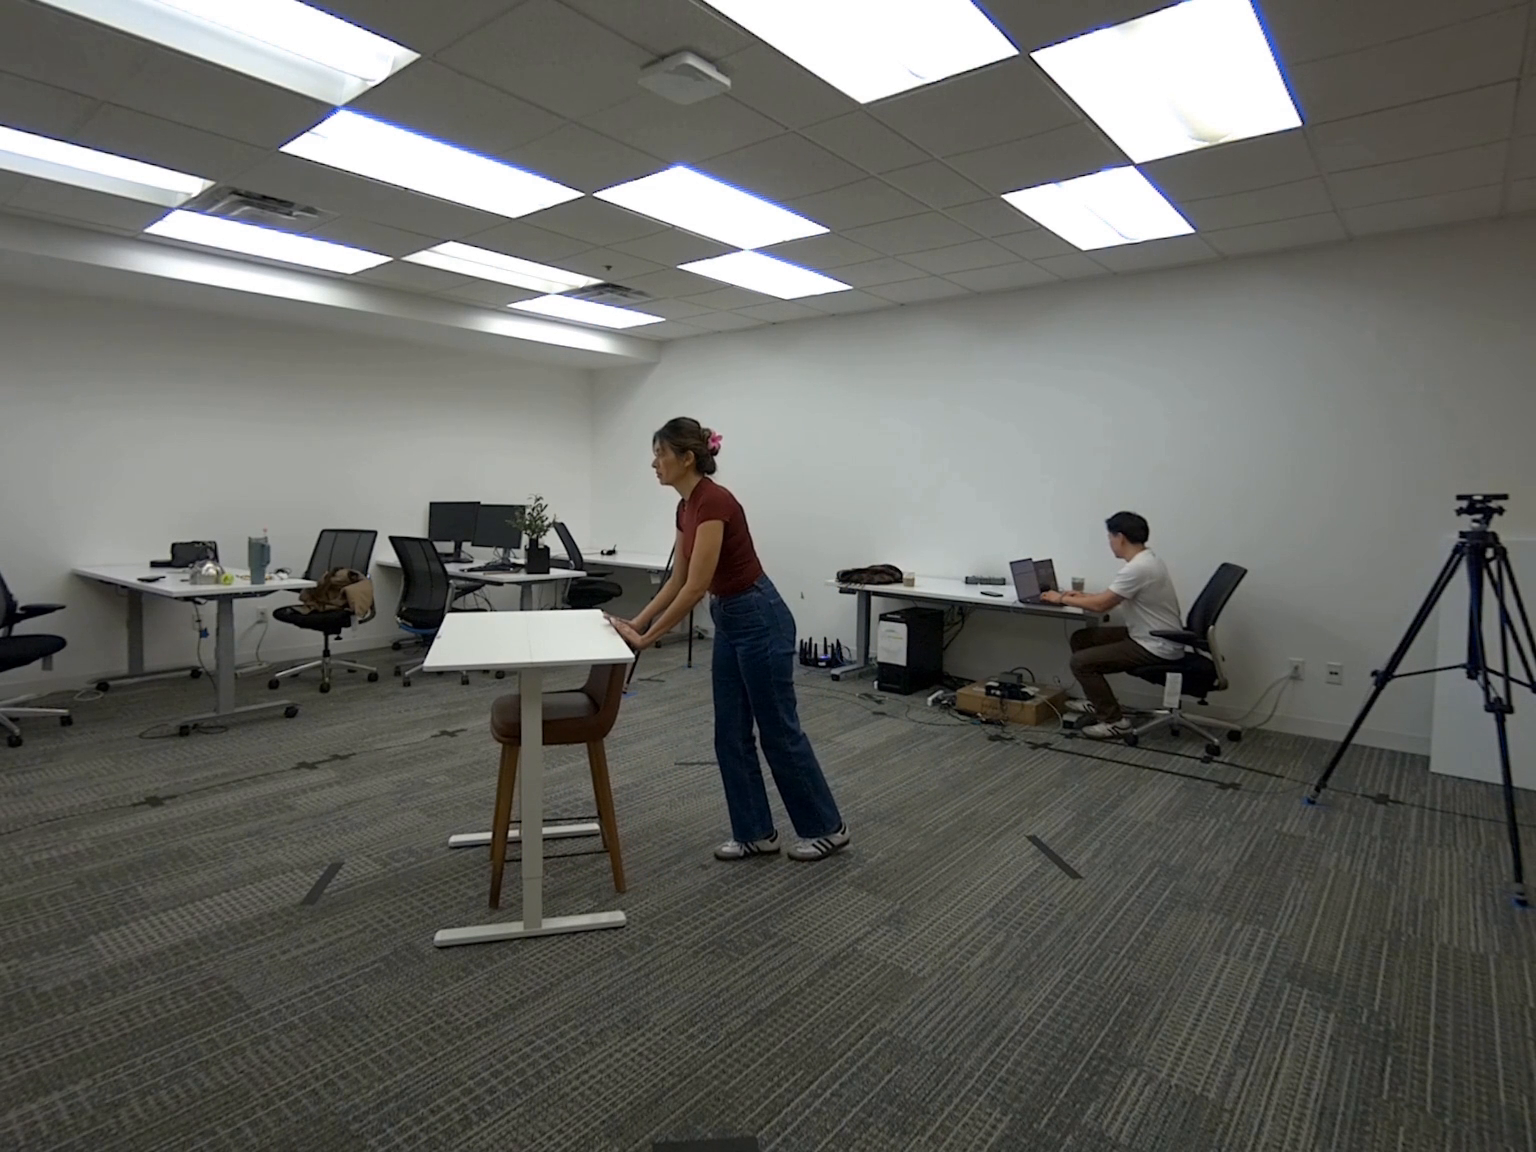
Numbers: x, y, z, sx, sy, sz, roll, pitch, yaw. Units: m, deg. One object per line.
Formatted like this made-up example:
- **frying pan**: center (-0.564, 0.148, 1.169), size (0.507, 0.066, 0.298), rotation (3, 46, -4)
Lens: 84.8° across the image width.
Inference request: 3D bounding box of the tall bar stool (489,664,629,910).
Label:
- **tall bar stool**: center (-0.755, 0.638, 3.015), size (0.461, 0.888, 0.464), rotation (2, 2, -15)
